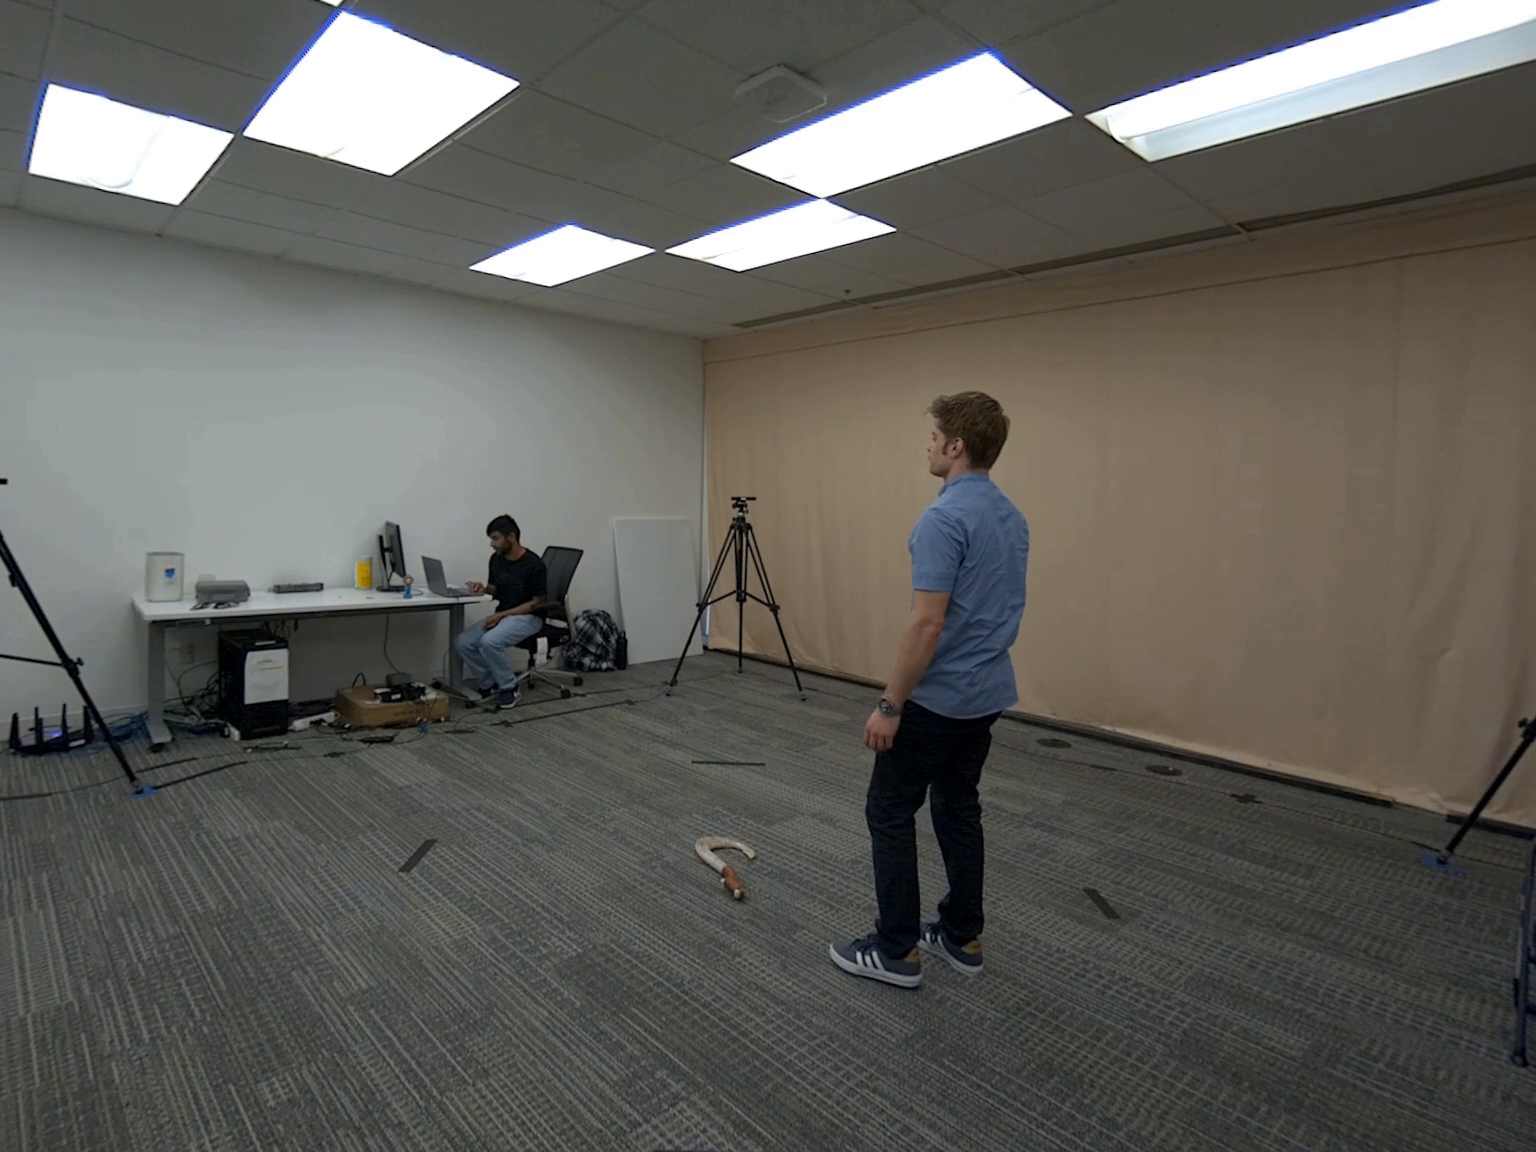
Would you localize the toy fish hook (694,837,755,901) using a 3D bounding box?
[{"bbox_3d":[-0.133,1.080,3.148,0.222,0.048,0.515,-1,6,-18],"label":"toy fish hook"}]
